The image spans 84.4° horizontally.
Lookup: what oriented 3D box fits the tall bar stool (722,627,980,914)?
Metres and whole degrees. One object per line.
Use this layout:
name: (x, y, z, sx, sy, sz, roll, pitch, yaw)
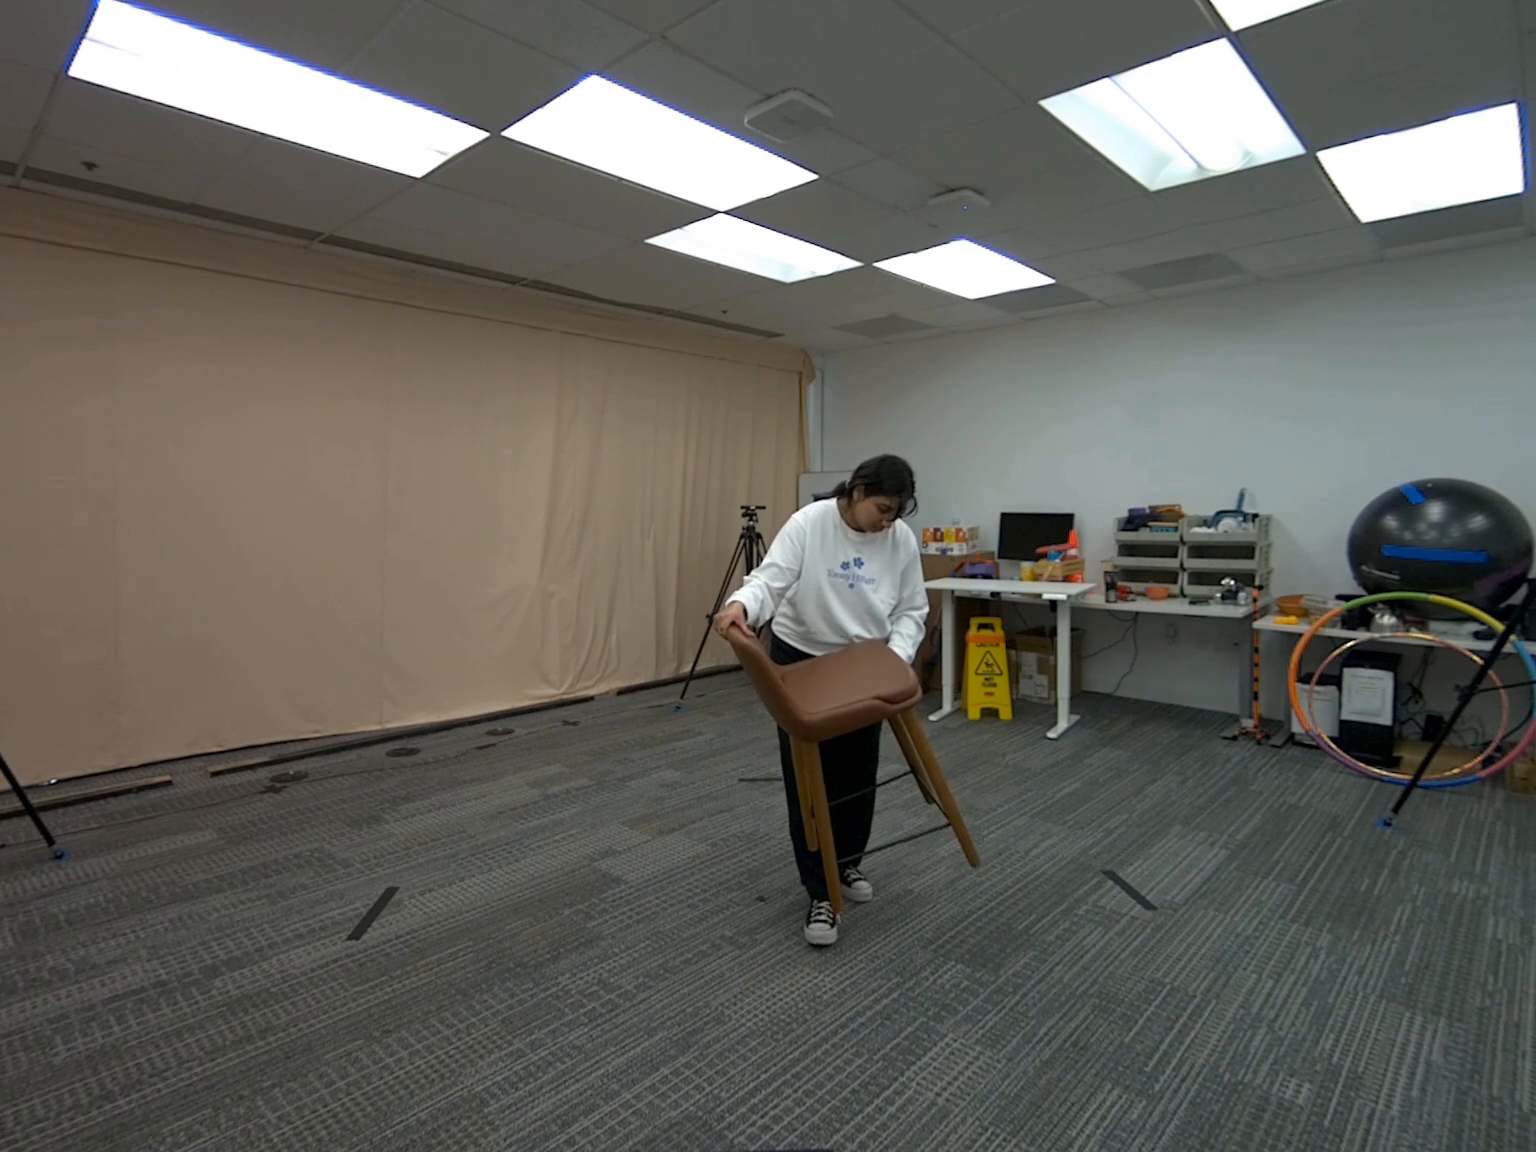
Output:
tall bar stool: (0.243, 0.470, 2.528, 0.467, 0.880, 0.462, -21, 12, -2)
